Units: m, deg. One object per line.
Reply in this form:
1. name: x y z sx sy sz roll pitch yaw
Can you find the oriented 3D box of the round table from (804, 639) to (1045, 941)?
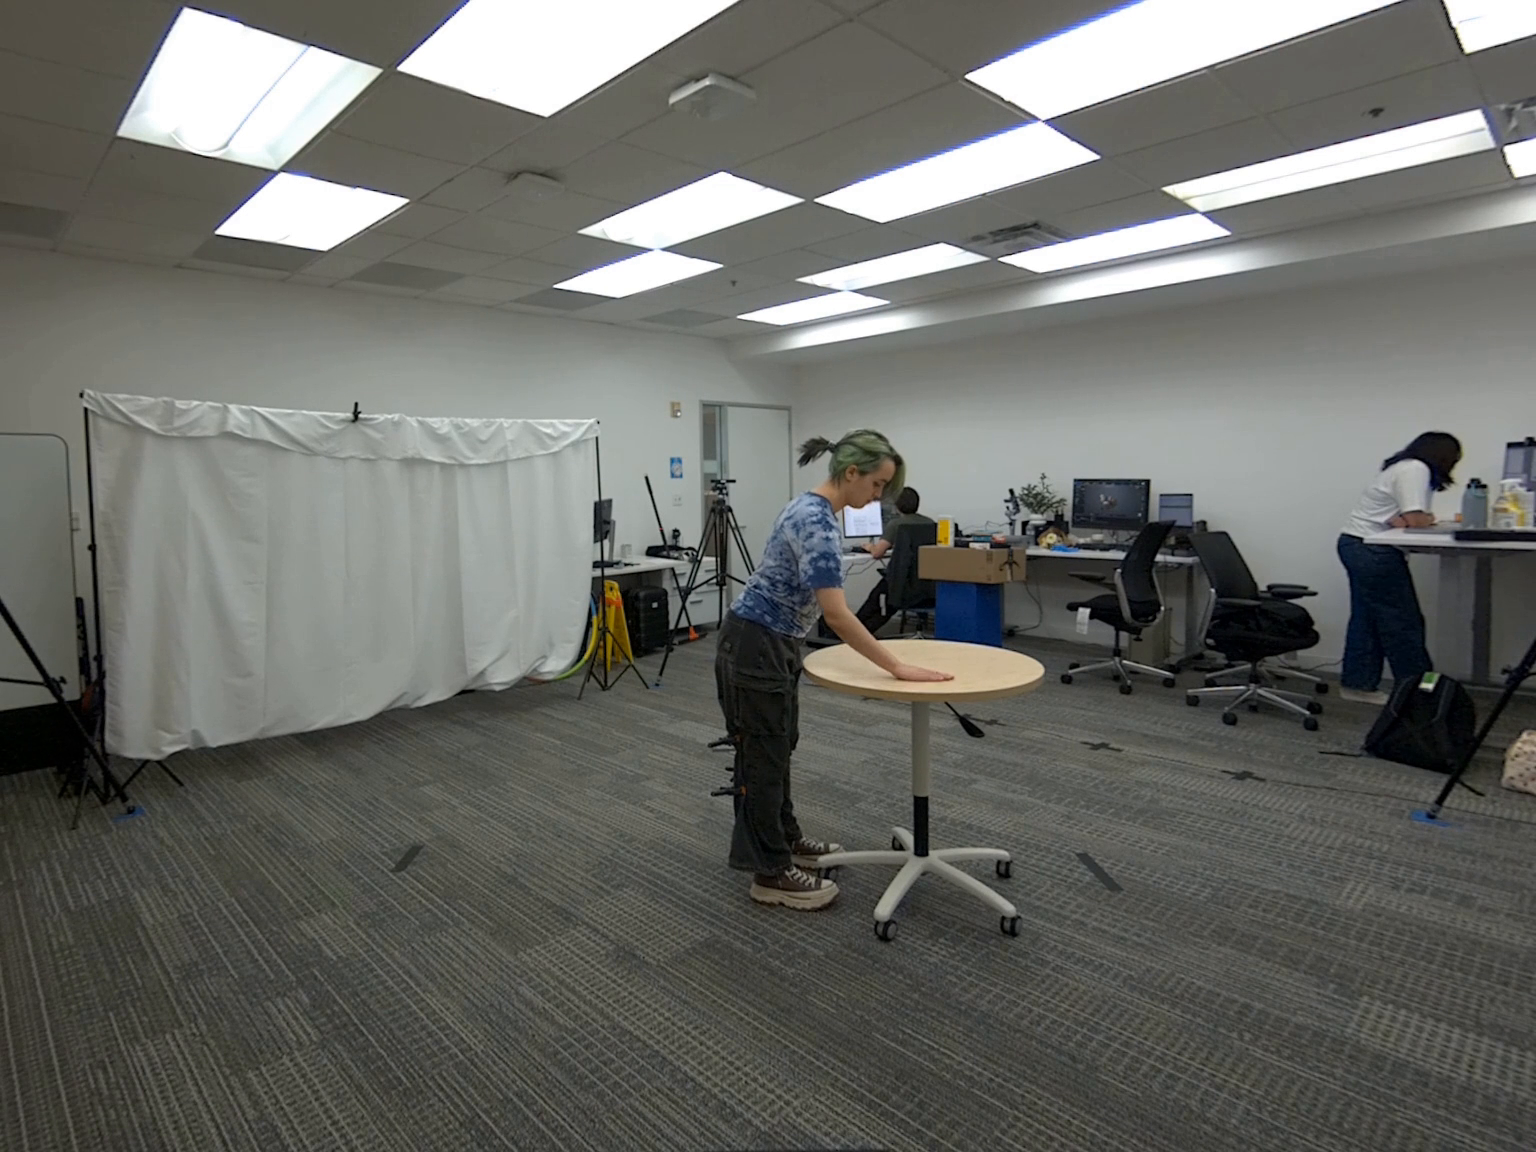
1. round table: 0.495 0.674 2.818 0.784 0.783 0.789 -1 5 -2
